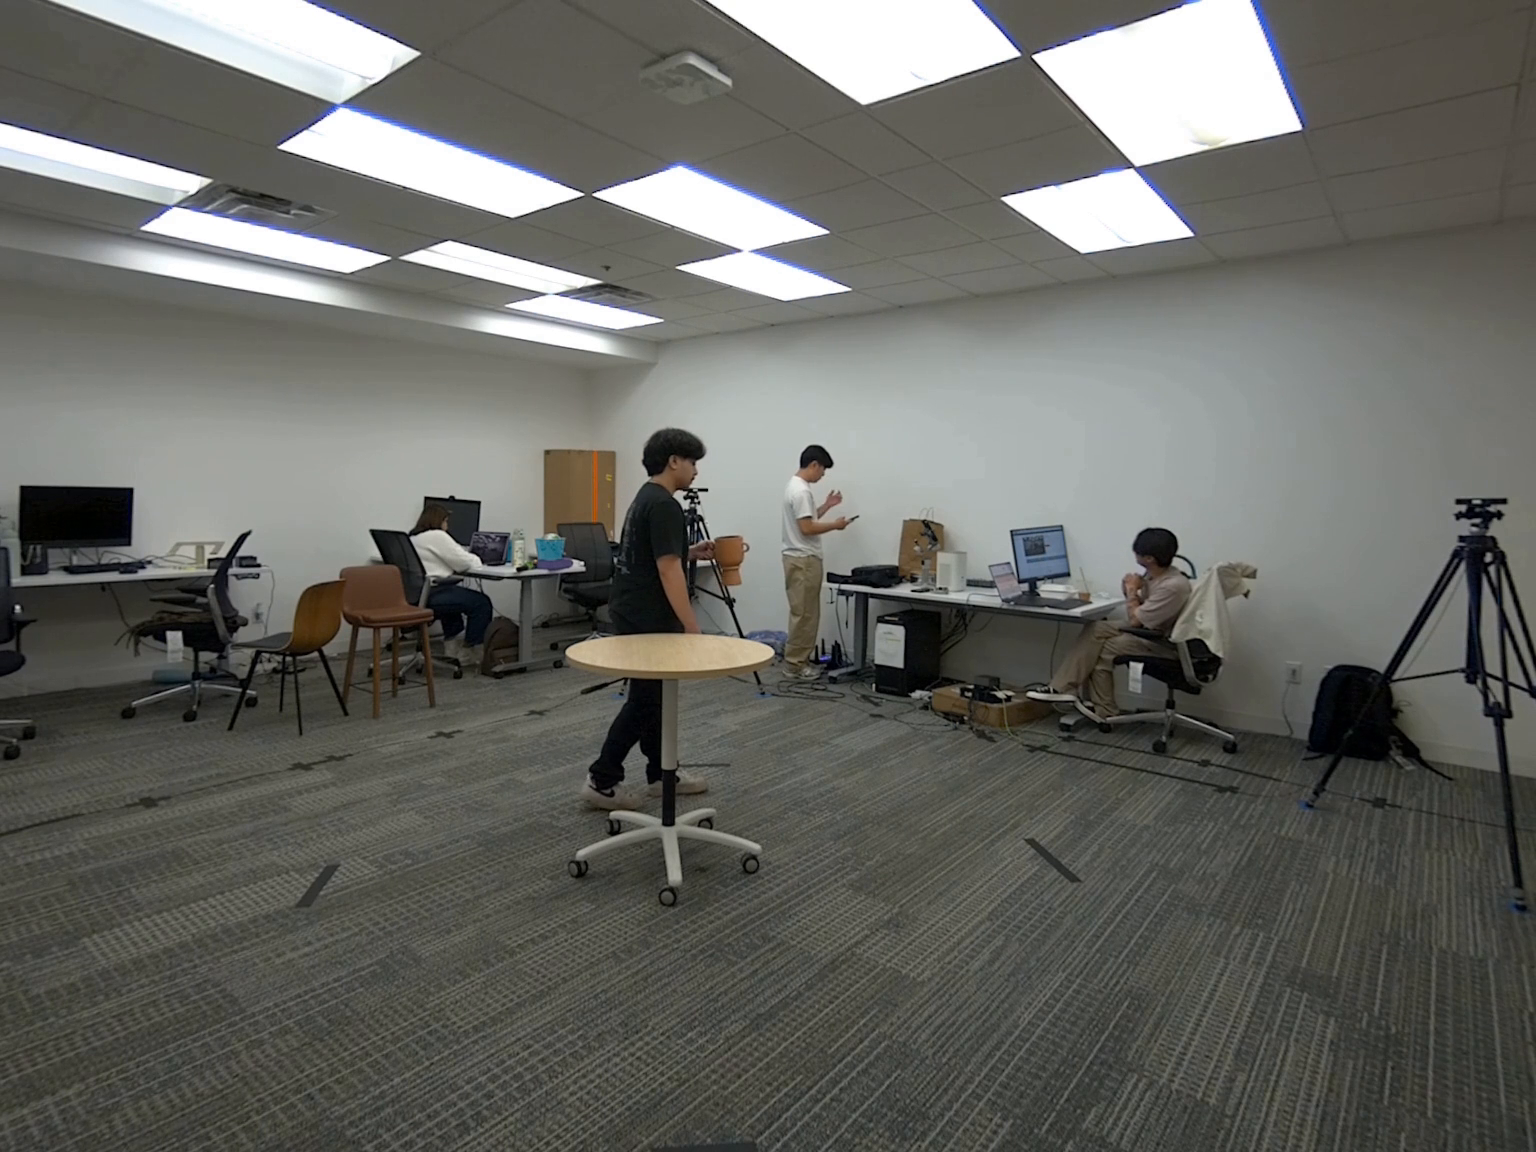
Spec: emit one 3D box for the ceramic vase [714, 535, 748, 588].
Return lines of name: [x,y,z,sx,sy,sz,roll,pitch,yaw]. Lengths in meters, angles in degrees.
ceramic vase: [-0.190,-0.072,3.917,0.131,0.219,0.163,-6,6,-30]
